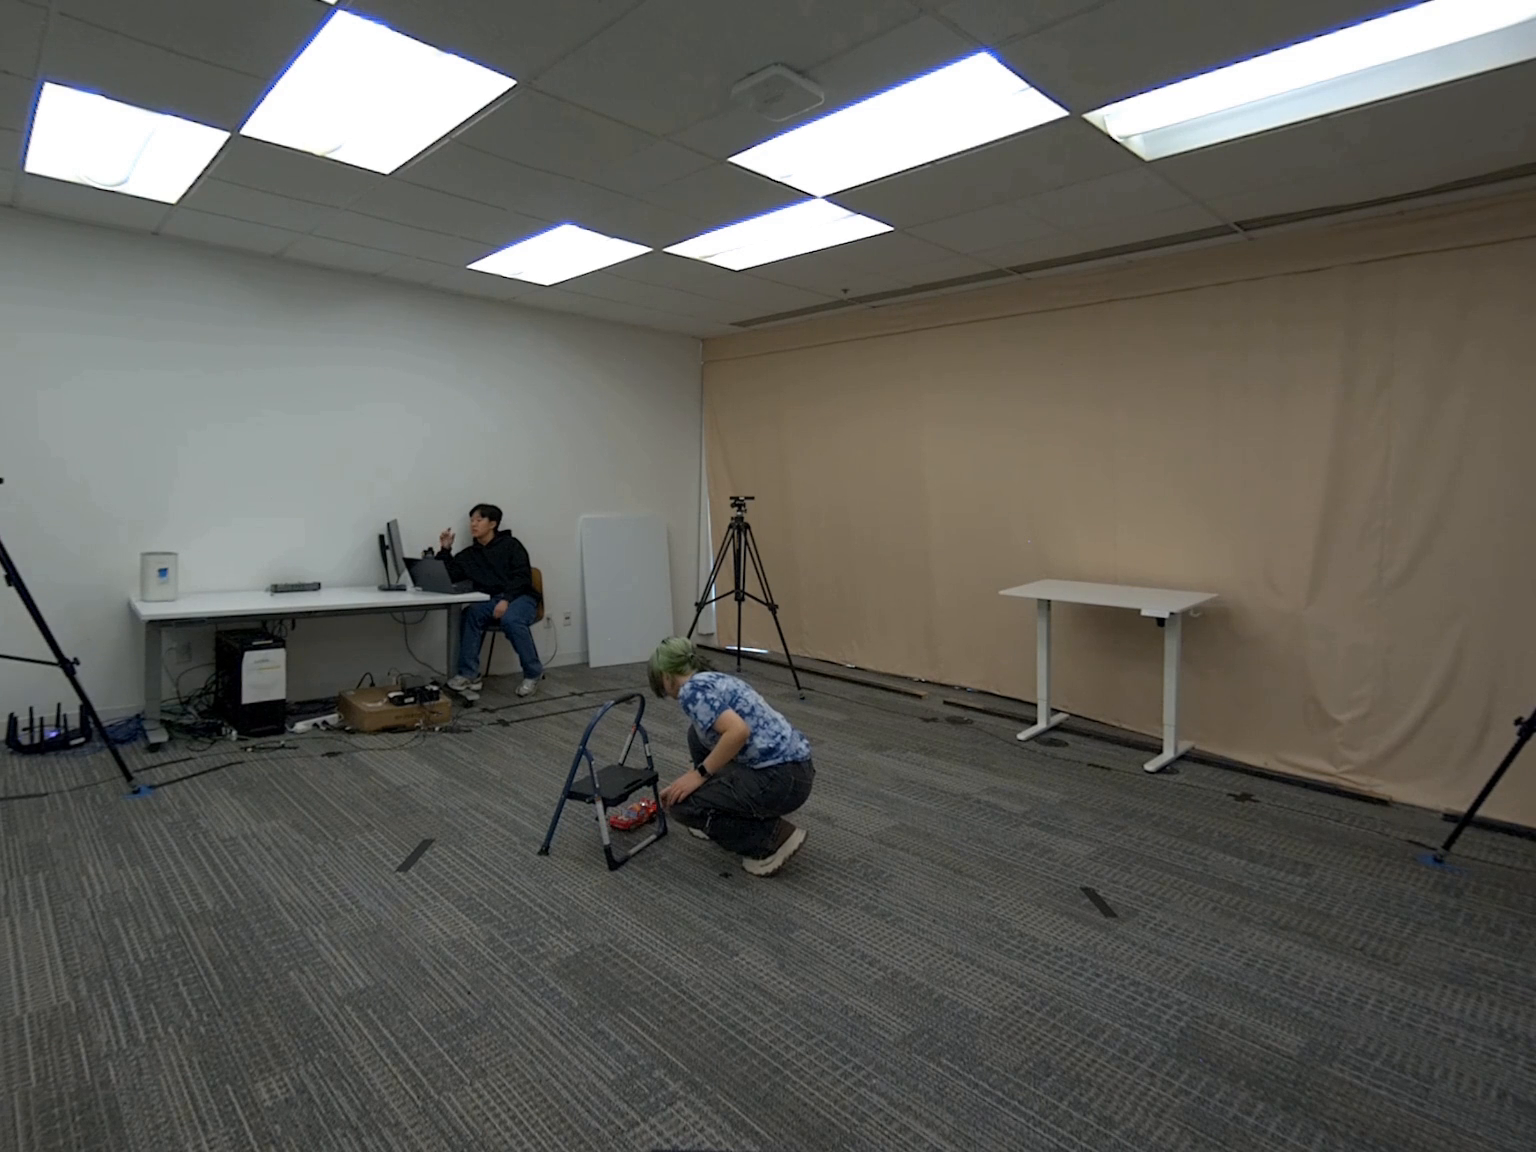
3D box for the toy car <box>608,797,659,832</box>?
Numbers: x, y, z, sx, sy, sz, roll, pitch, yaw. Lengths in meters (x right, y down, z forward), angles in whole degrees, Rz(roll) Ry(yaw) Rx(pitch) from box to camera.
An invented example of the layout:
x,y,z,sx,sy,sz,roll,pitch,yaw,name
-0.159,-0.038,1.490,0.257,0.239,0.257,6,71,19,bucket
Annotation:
x,y,z,sx,sy,sz,roll,pitch,yaw,name
-0.573,1.025,3.587,0.133,0.082,0.252,2,17,31,toy car
